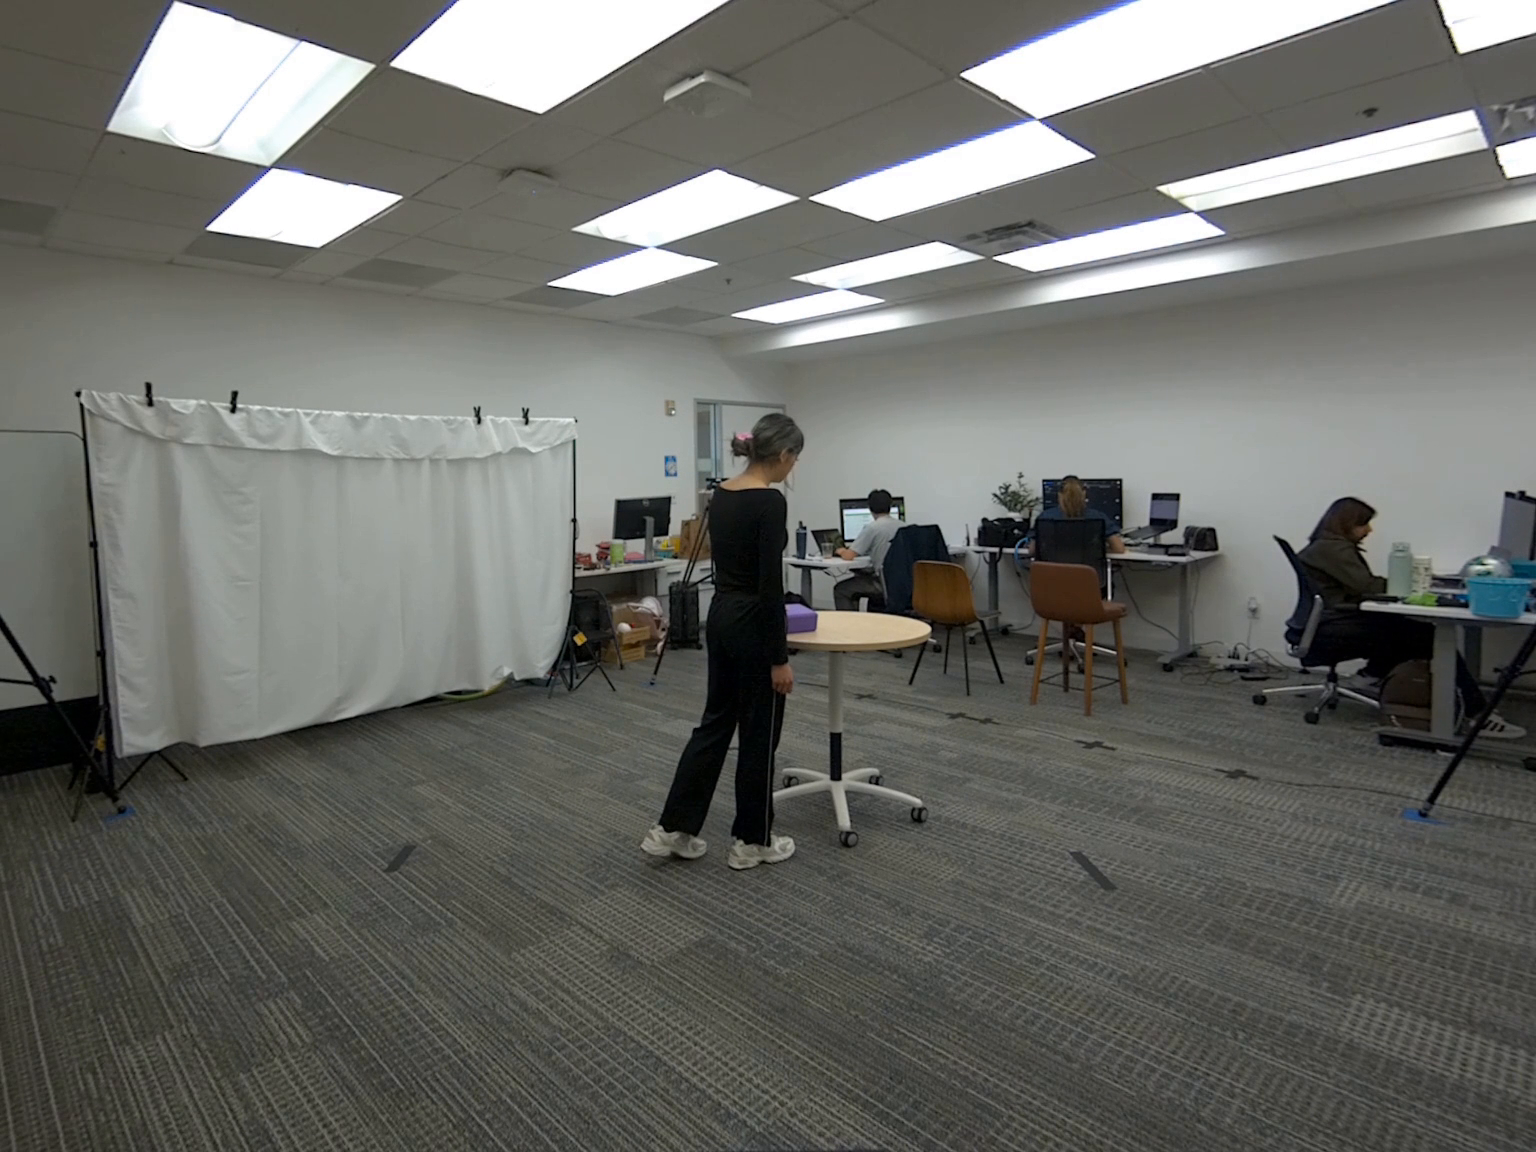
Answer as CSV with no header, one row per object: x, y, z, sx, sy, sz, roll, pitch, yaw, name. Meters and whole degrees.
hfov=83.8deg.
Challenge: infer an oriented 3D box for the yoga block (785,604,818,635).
0.070,0.173,3.409,0.224,0.075,0.154,-4,14,-25,yoga block
